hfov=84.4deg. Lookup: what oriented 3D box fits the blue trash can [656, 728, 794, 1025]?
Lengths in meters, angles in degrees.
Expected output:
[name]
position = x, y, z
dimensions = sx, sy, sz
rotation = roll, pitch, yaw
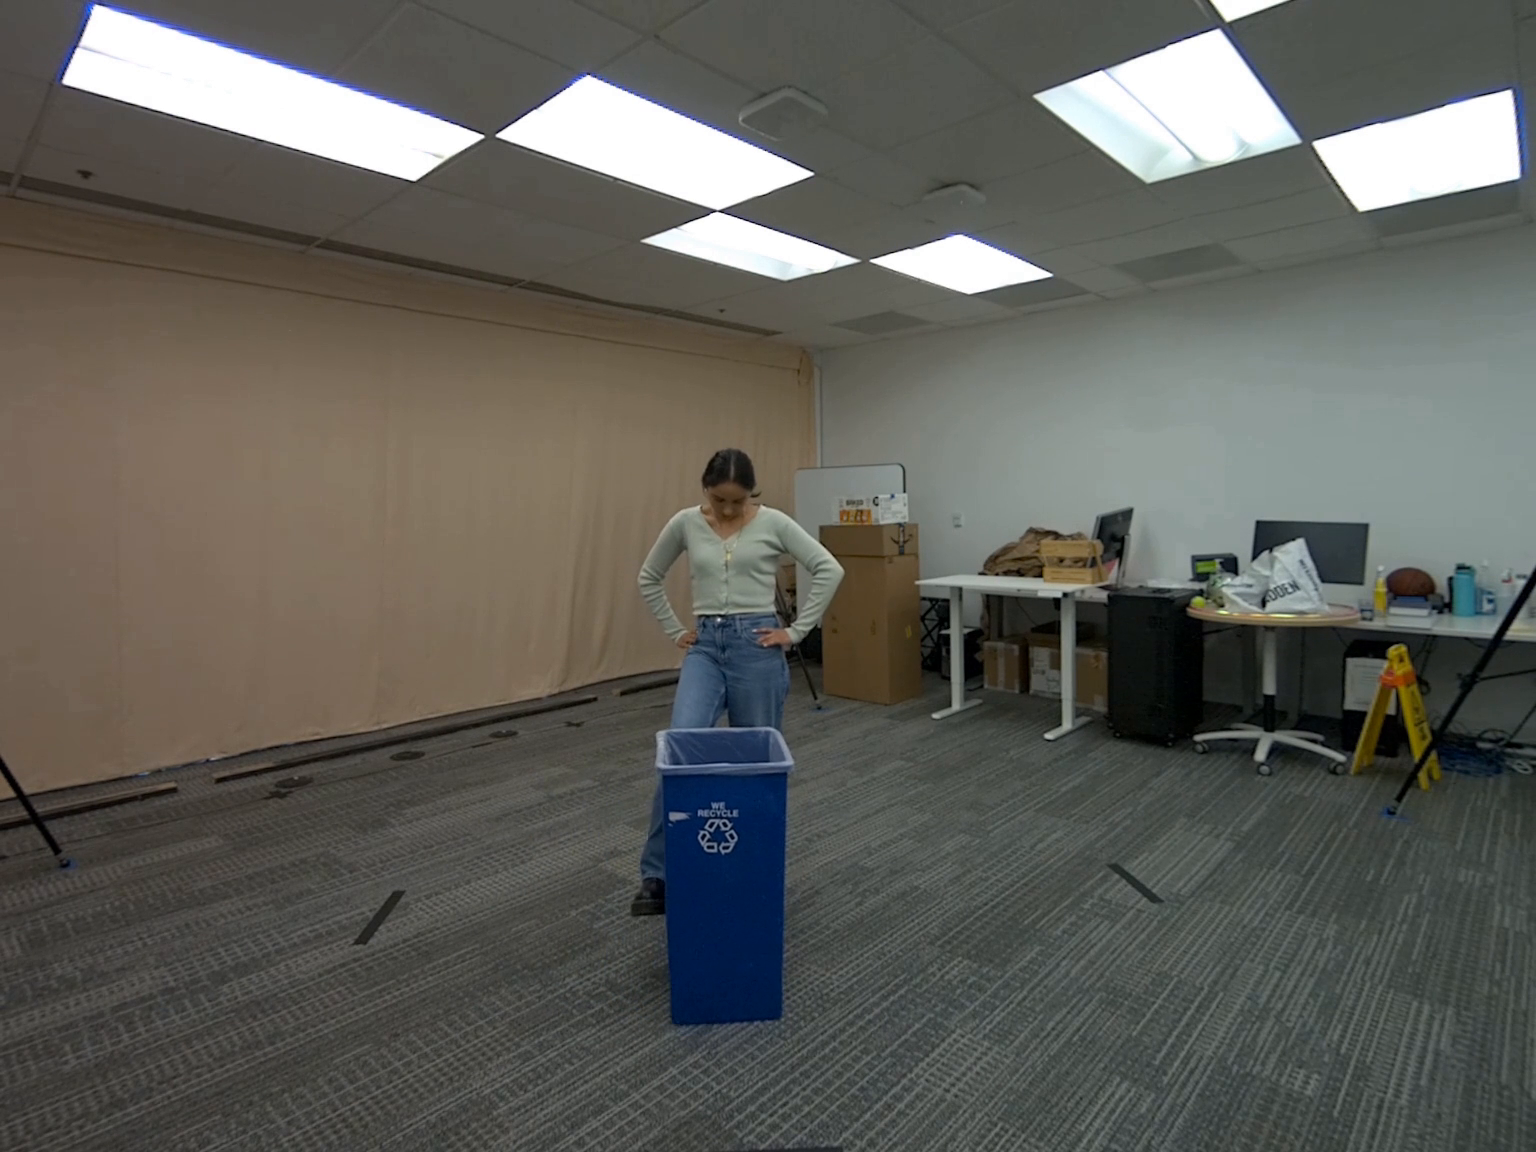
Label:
[blue trash can]
position = -0.123, 0.831, 2.389
dimensions = 0.376, 0.712, 0.377
rotation = -1, 3, -6
